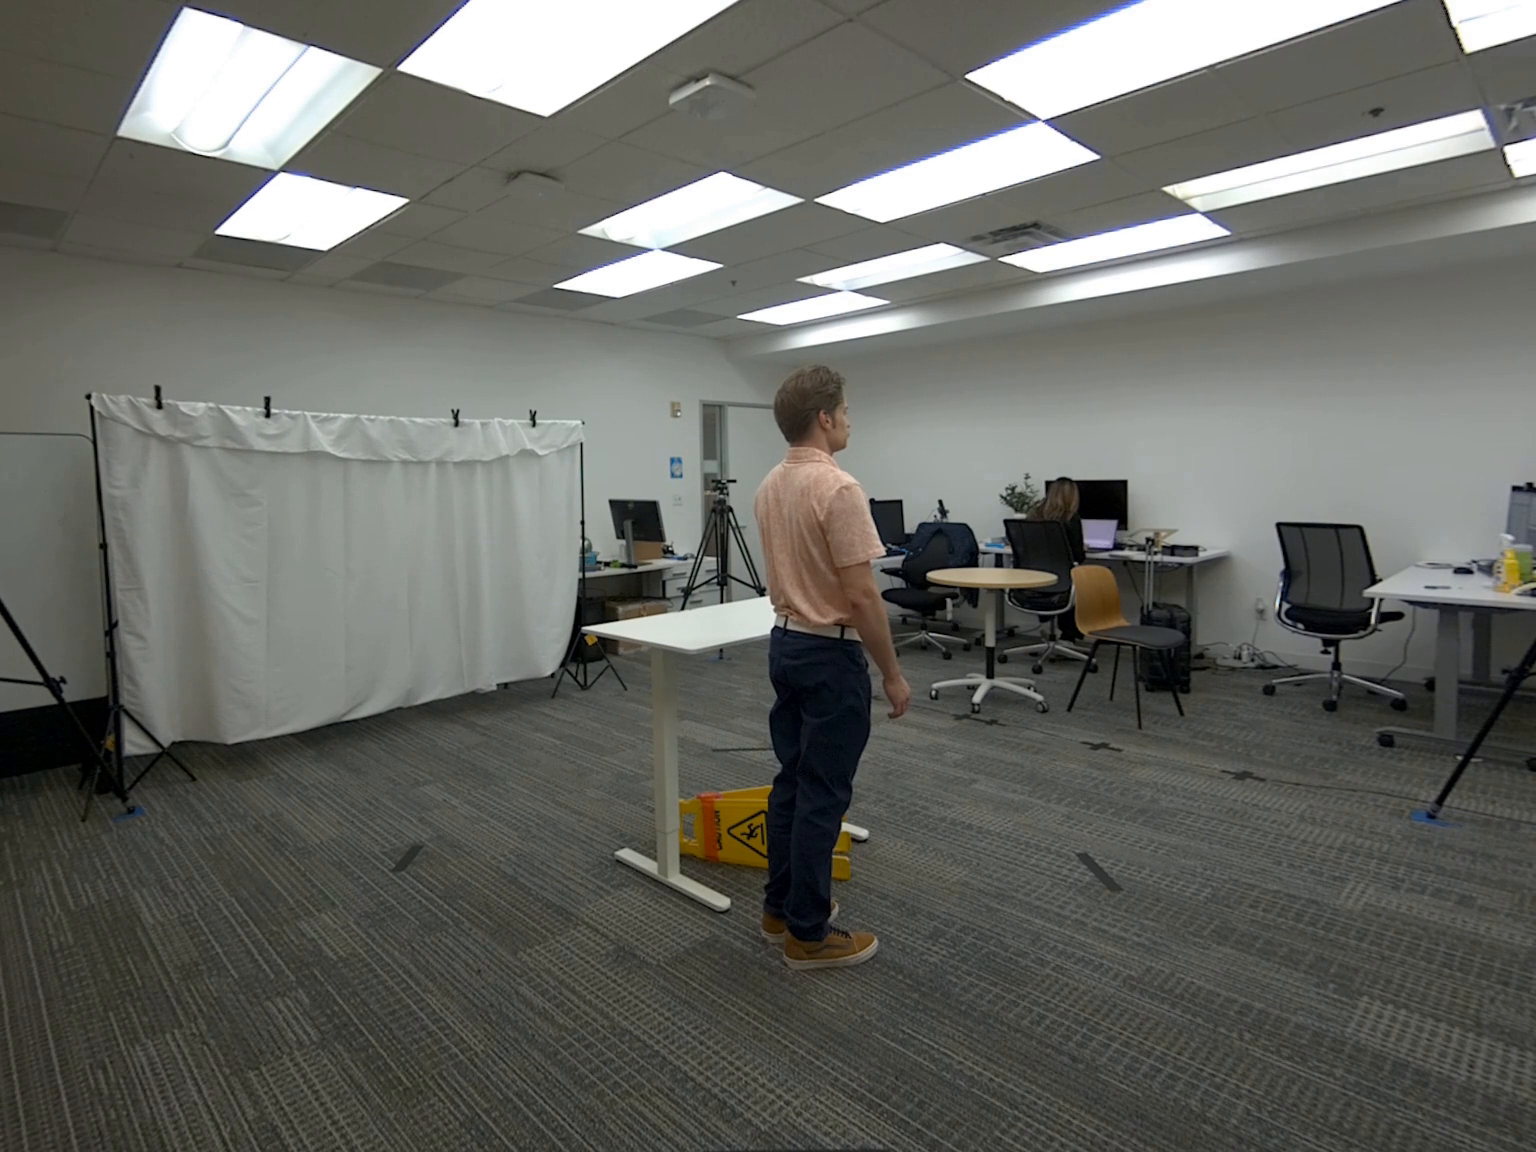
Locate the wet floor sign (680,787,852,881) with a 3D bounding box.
[{"bbox_3d":[-0.033,0.916,3.133,0.652,0.281,0.288,-4,5,10],"label":"wet floor sign"}]
